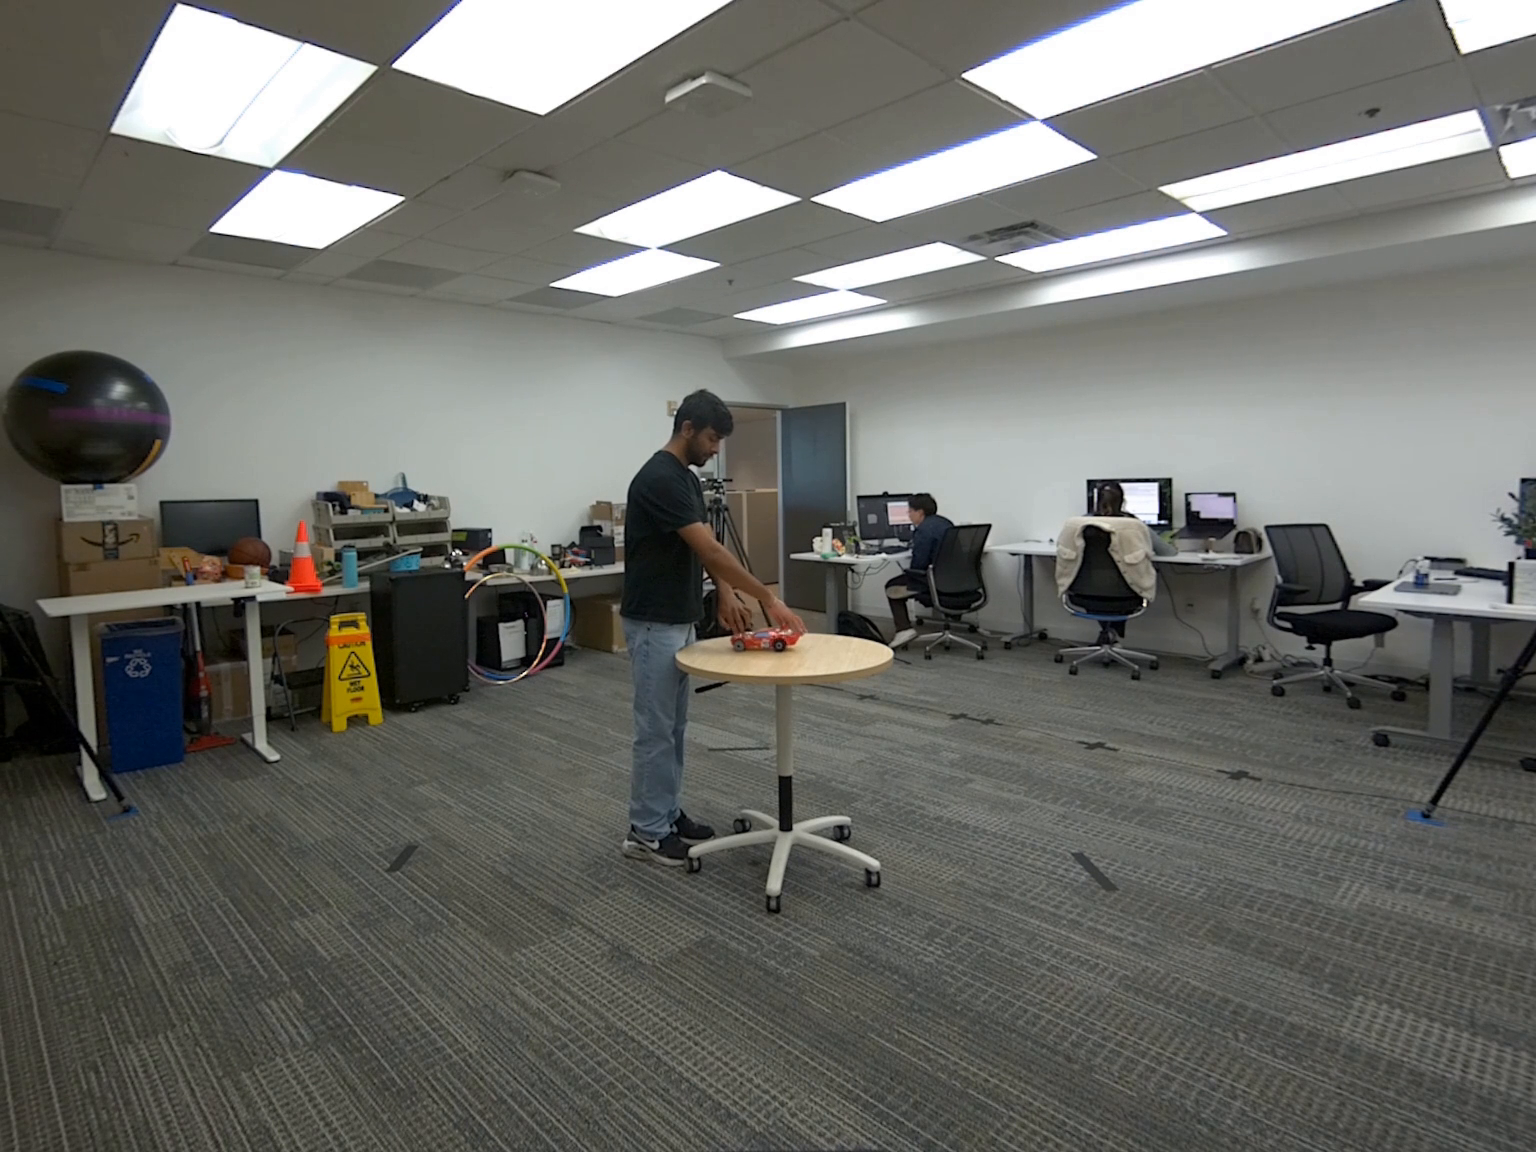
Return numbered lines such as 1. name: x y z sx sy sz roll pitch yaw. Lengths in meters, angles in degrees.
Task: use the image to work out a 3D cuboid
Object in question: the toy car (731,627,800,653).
1. toy car: 0.000 0.233 3.068 0.257 0.083 0.130 -11 5 10
